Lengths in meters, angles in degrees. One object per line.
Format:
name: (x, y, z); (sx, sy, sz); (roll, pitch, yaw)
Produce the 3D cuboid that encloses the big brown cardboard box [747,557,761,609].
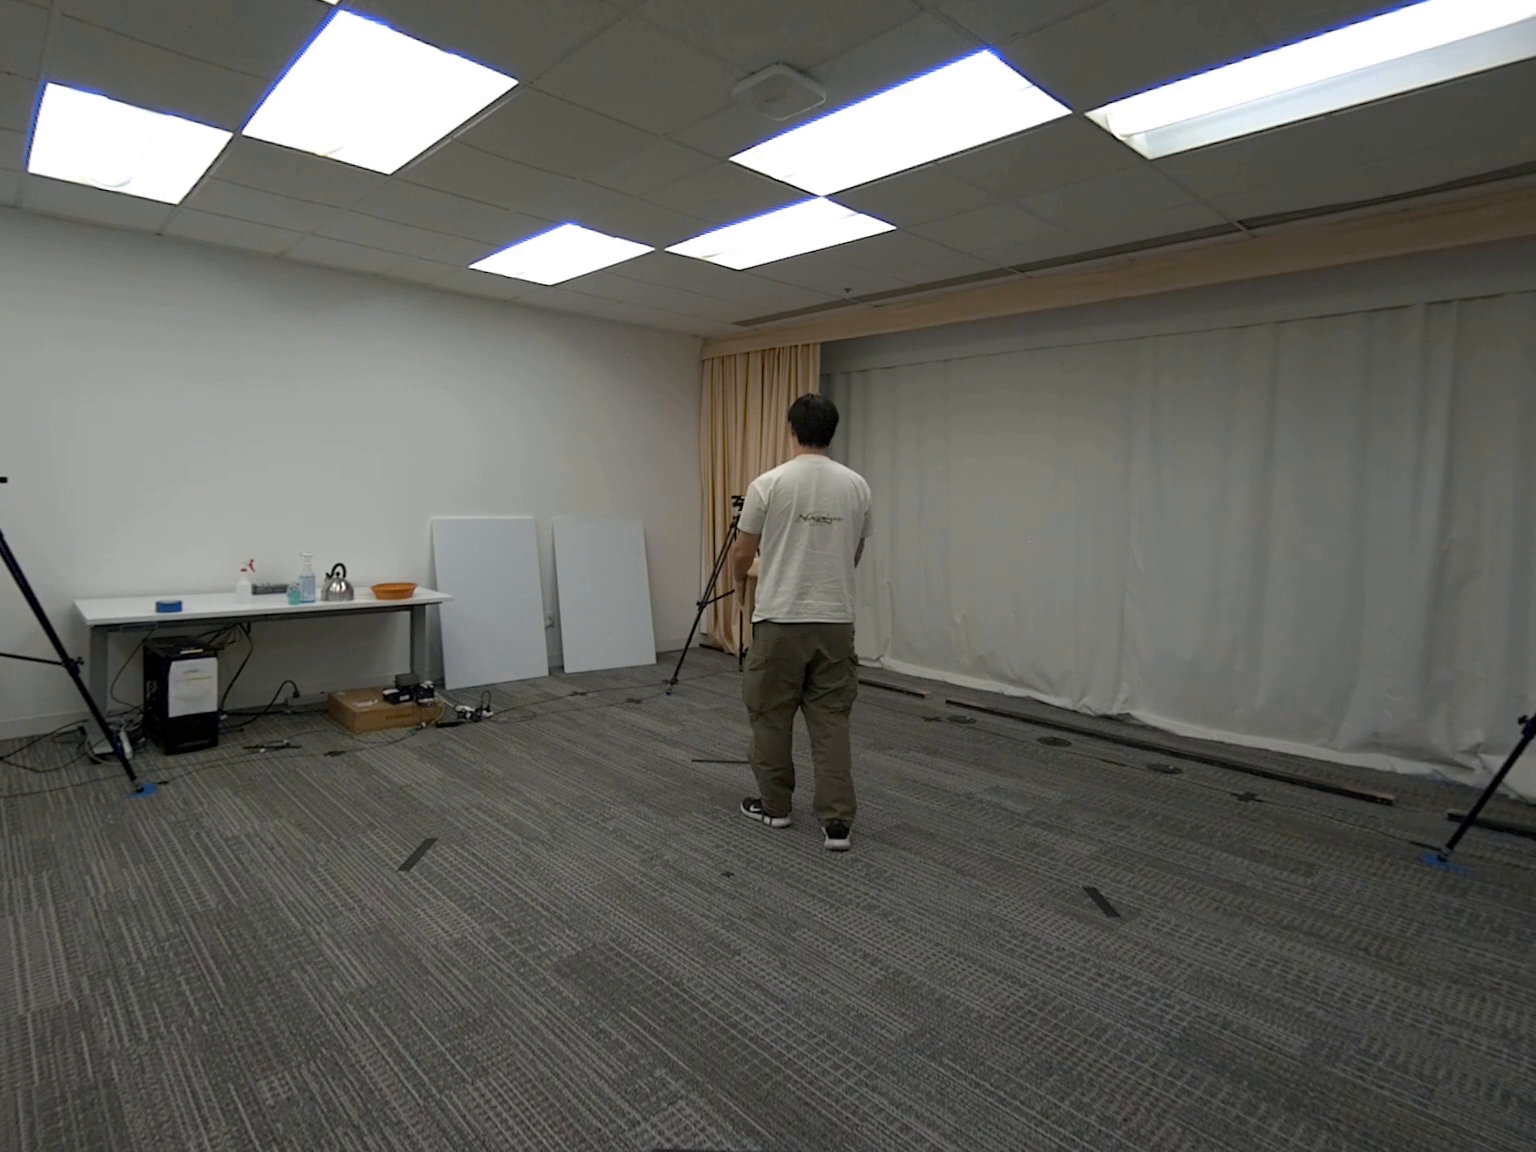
big brown cardboard box: (0.078, 0.058, 3.956); (0.414, 0.231, 0.597); (-2, 10, -10)
